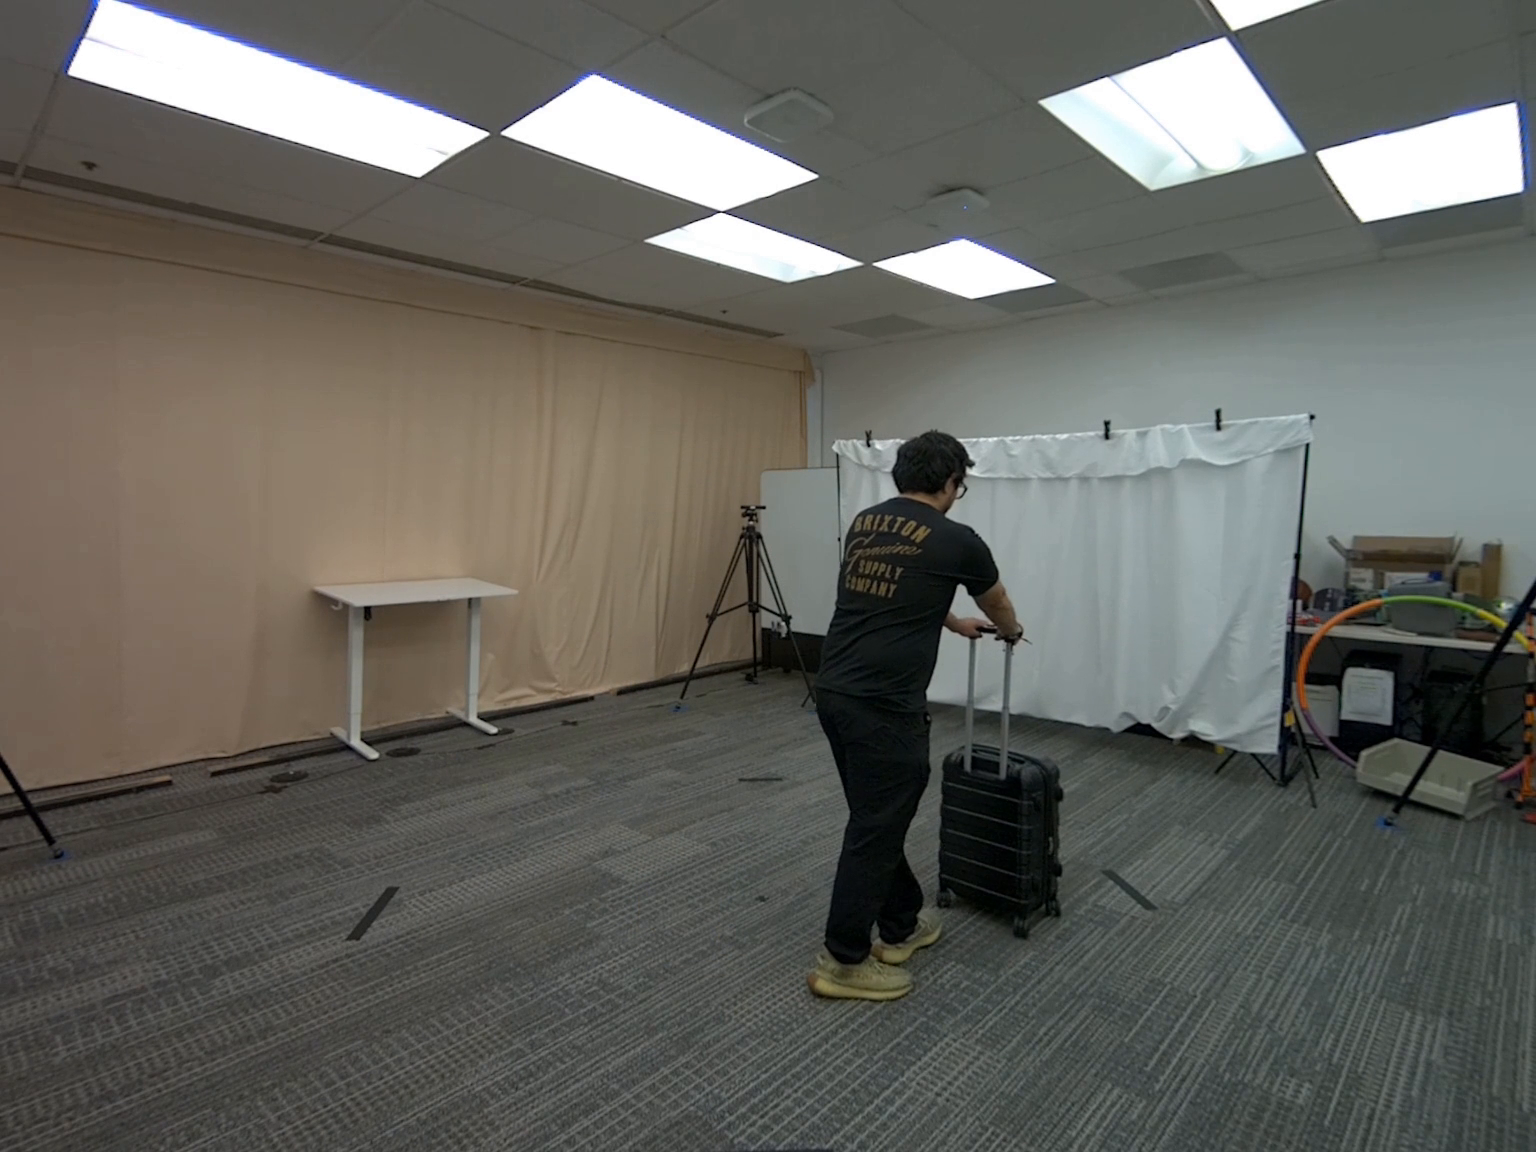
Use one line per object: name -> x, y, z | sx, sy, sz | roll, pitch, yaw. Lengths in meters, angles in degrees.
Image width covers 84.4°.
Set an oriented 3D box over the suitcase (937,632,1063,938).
suitcase -> 0.812, 0.674, 2.910 | 0.249, 0.978, 0.397 | 2, 0, -43
